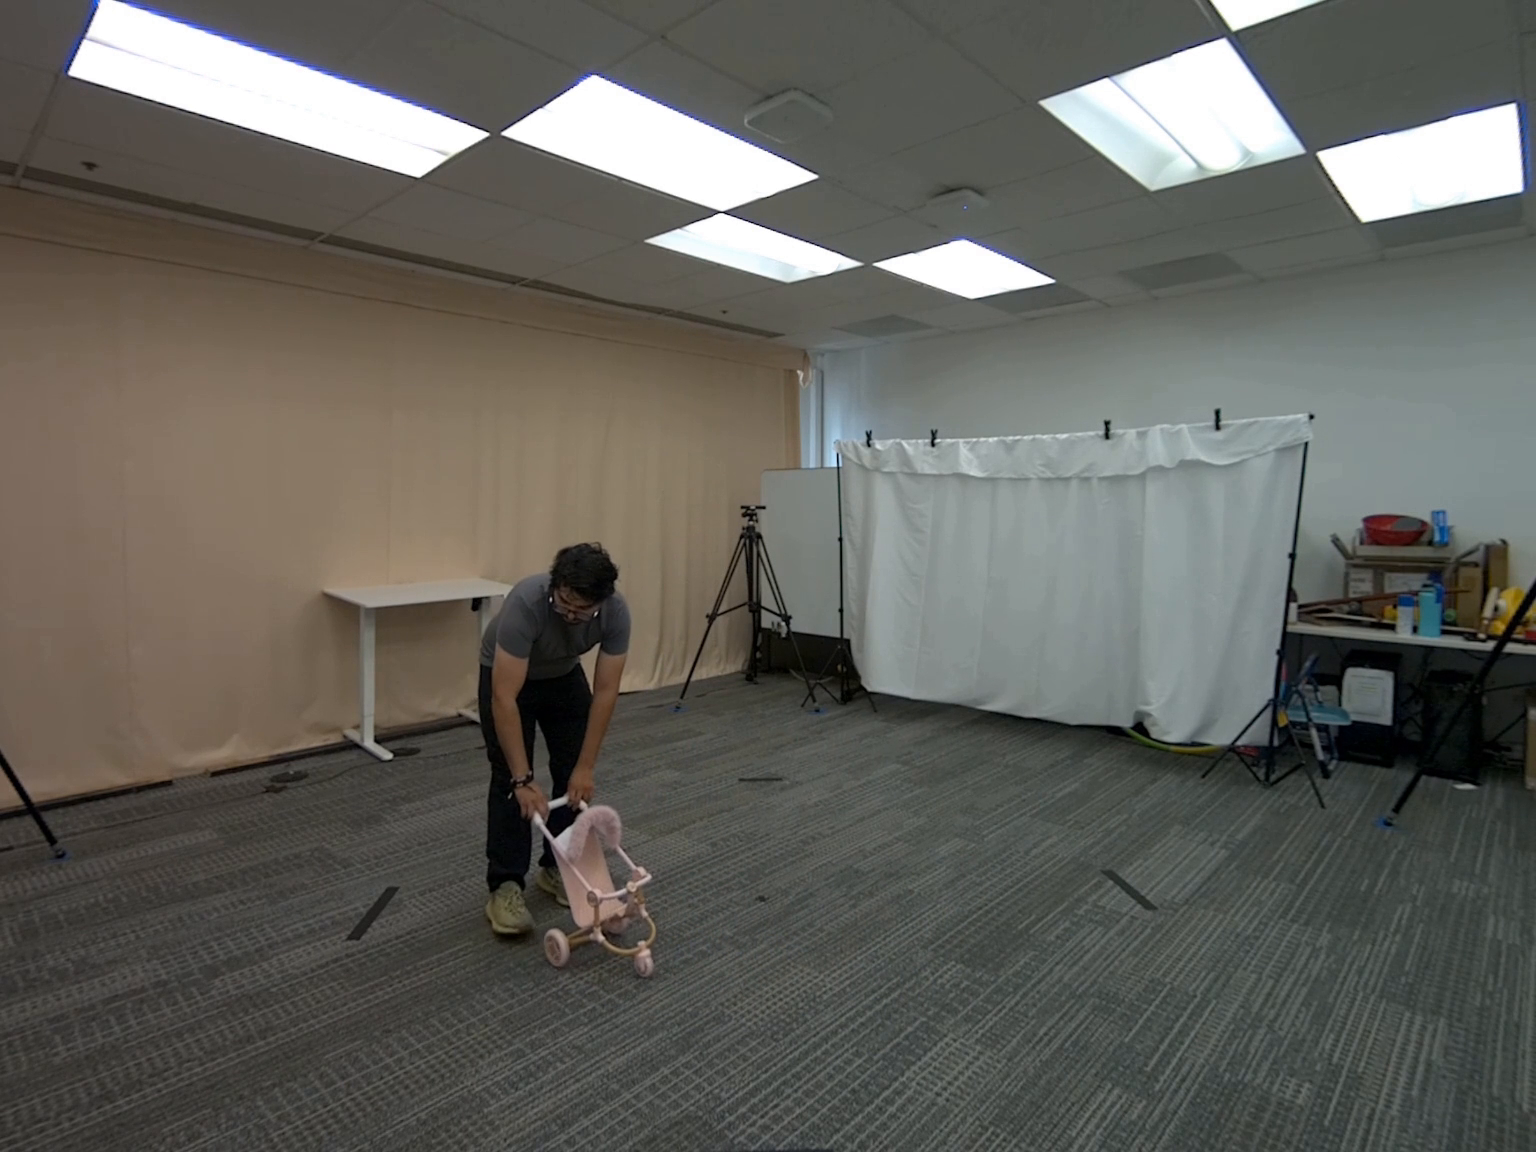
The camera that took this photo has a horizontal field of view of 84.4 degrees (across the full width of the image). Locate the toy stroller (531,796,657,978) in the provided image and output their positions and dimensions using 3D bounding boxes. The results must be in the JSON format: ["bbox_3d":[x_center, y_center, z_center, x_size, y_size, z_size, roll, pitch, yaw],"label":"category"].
[{"bbox_3d":[-0.517,0.955,2.599,0.350,0.538,0.273,-18,-10,41],"label":"toy stroller"}]
